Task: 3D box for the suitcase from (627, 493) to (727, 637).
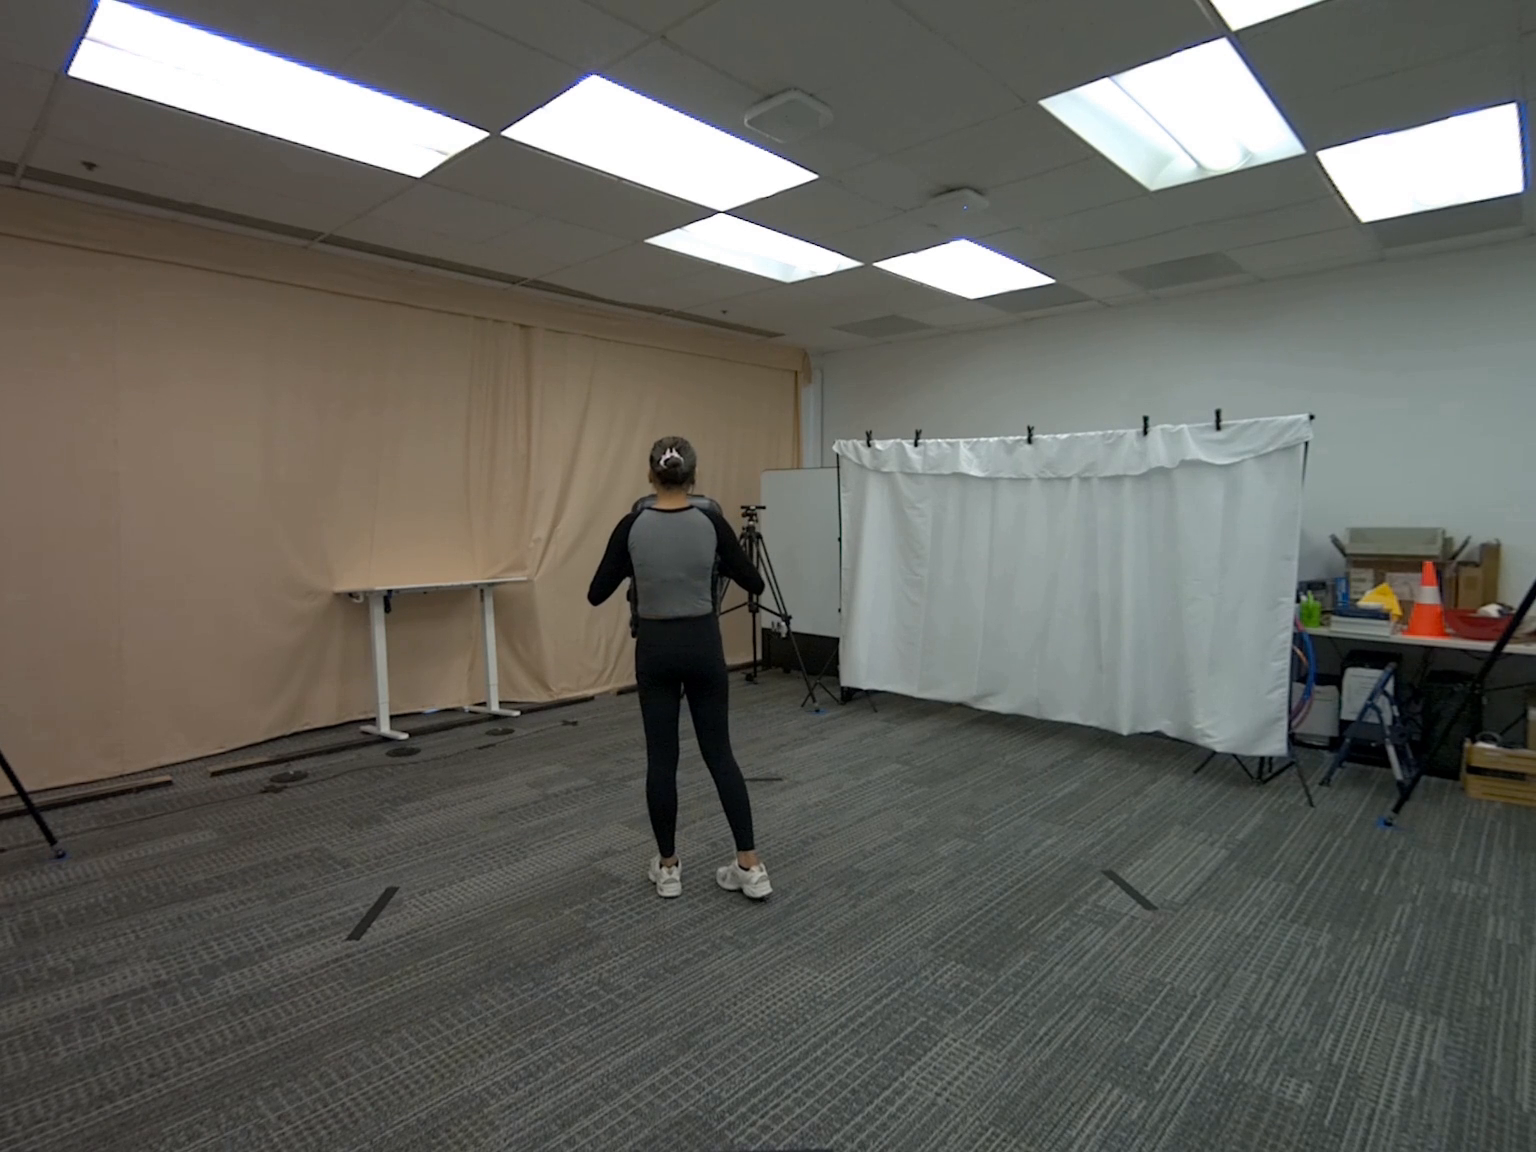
[{"bbox_3d":[-0.360,-0.049,3.295,0.375,0.547,0.249,2,6,-2],"label":"suitcase"}]
